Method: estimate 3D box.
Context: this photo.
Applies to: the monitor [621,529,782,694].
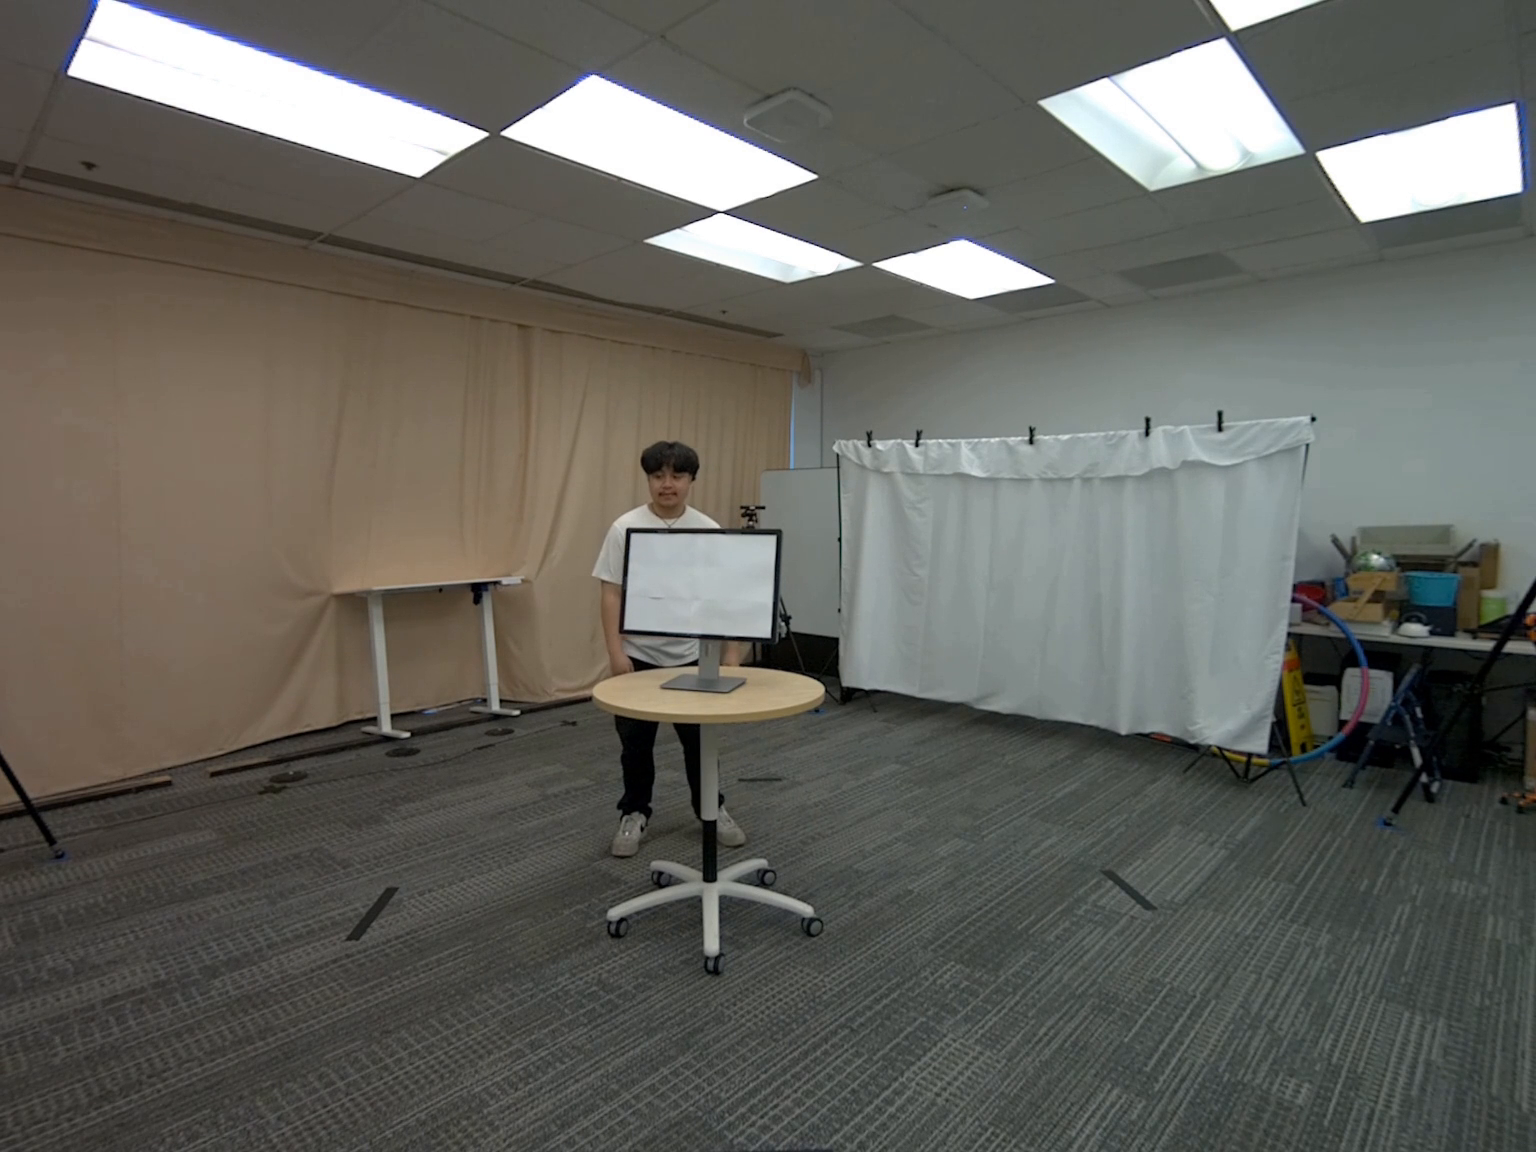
[{"bbox_3d":[-0.202,0.110,2.837,0.578,0.554,0.205,1,-1,22],"label":"monitor"}]
